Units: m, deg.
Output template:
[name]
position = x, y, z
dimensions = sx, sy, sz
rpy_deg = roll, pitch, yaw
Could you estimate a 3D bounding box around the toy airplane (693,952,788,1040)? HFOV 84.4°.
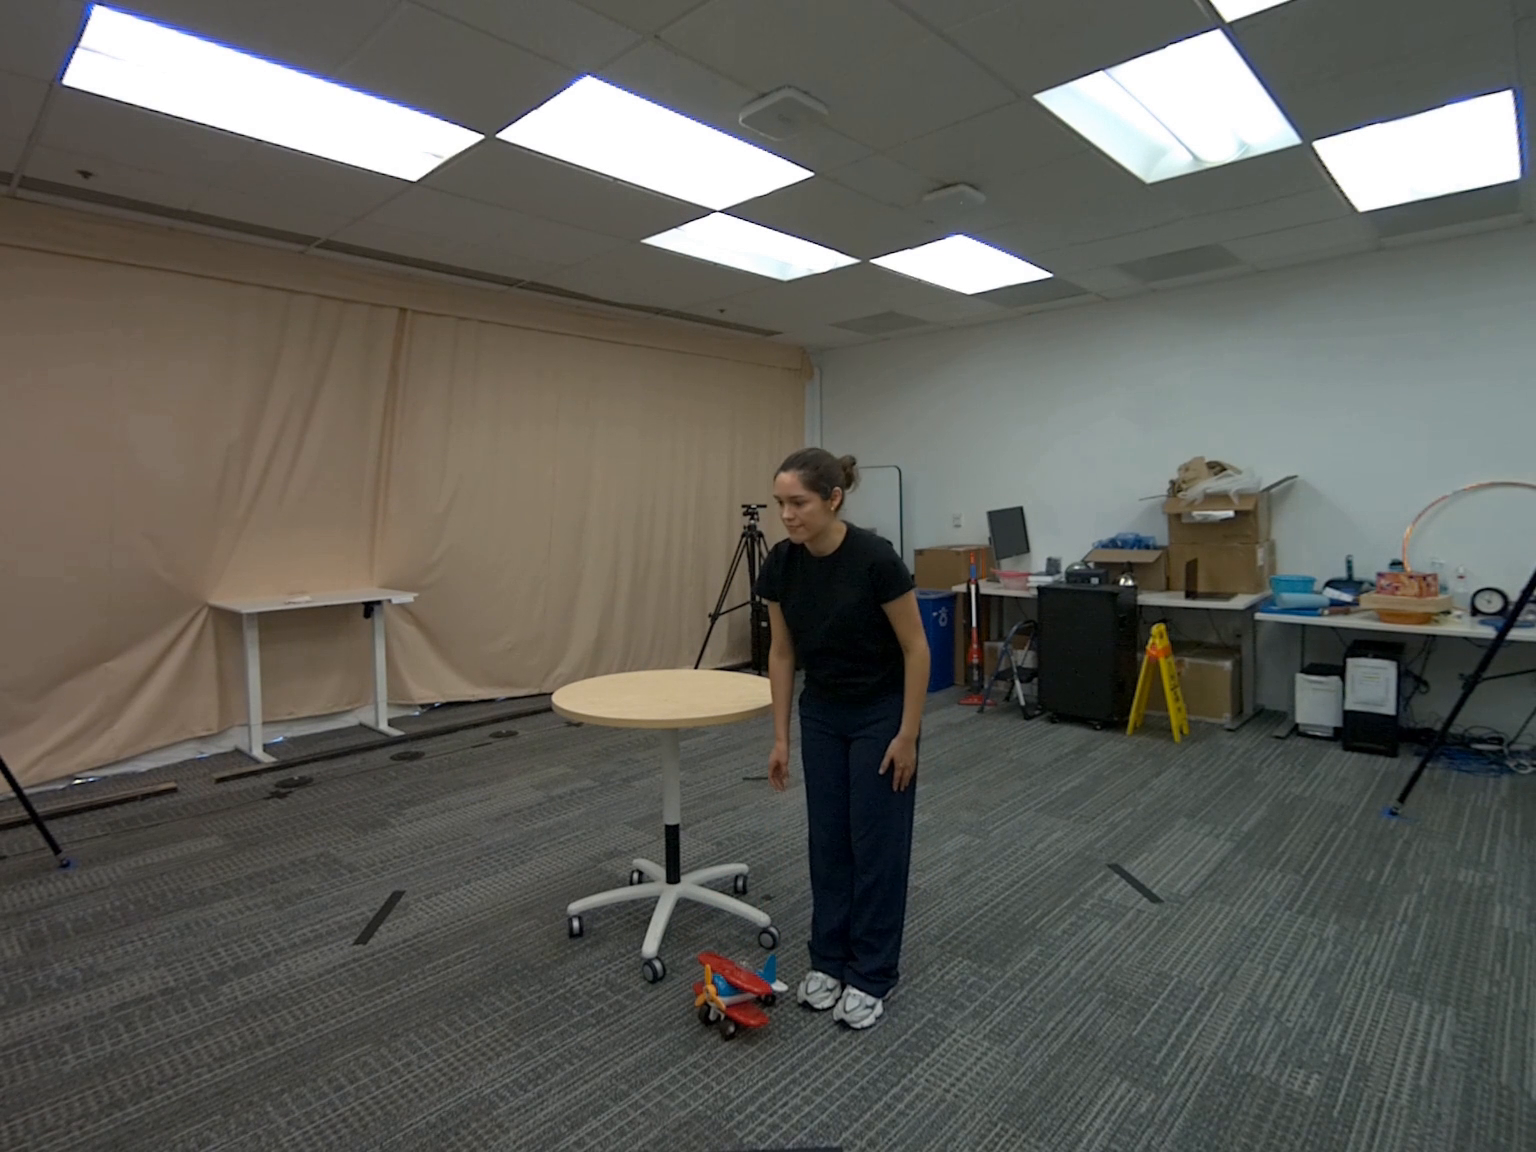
[toy airplane]
position = -0.061, 1.132, 2.298
dimensions = 0.256, 0.156, 0.255
rpy_deg = 1, 6, 17
